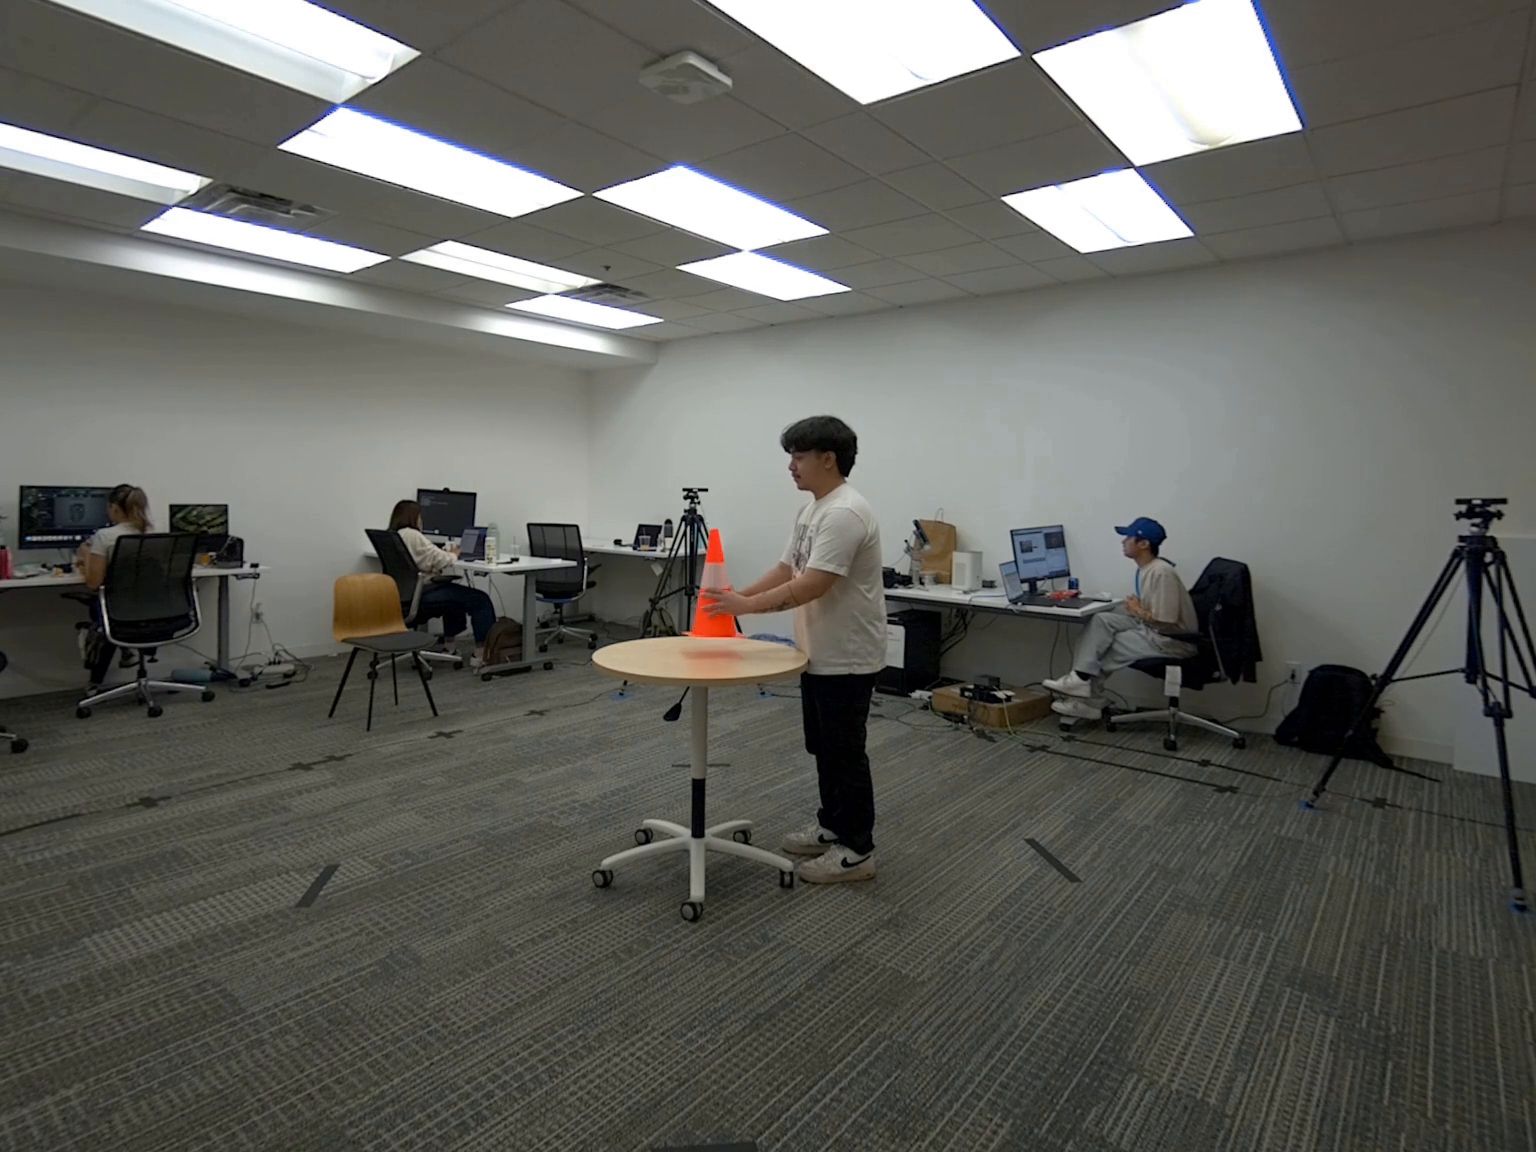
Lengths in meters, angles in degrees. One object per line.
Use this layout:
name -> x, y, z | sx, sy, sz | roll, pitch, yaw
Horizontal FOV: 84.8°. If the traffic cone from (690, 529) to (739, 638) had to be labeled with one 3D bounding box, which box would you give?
traffic cone -> -0.198, 0.021, 3.054 | 0.210, 0.382, 0.199 | 2, 5, 34
